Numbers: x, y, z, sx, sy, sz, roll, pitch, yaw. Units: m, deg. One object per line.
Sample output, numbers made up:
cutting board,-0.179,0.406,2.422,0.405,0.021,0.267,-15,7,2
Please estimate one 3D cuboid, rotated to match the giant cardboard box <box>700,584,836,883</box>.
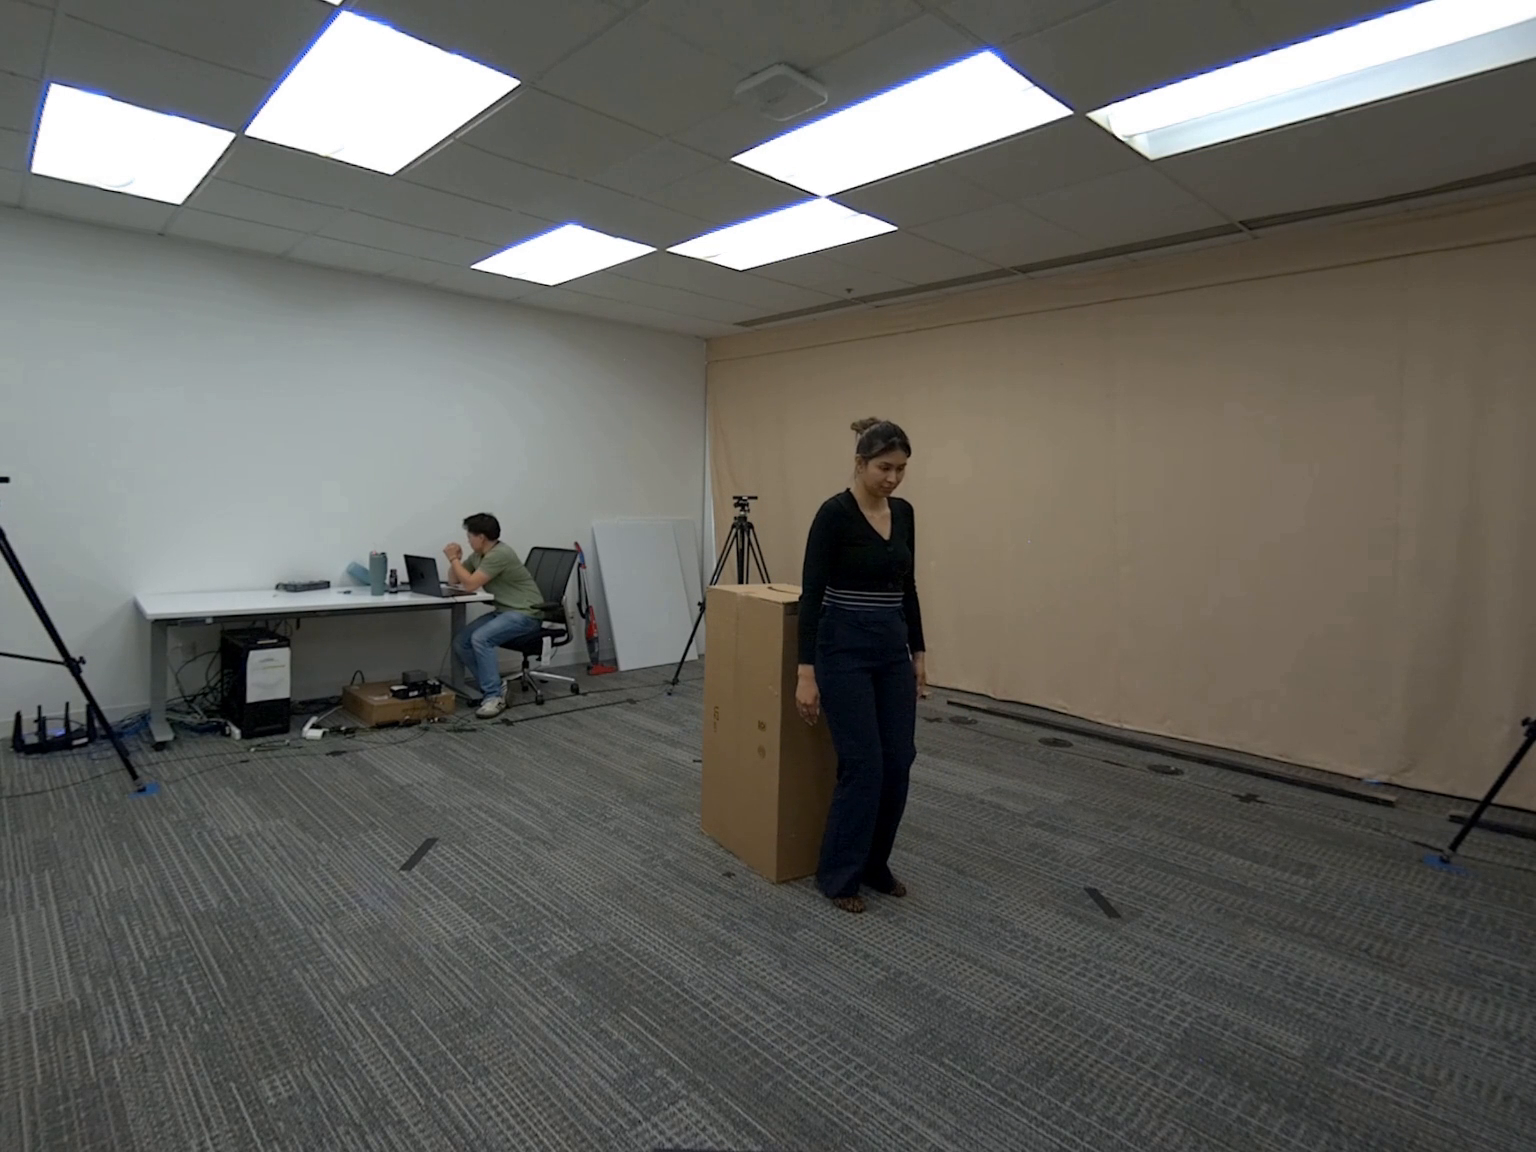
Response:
giant cardboard box,0.050,0.576,3.364,0.417,1.024,0.591,0,3,-32
